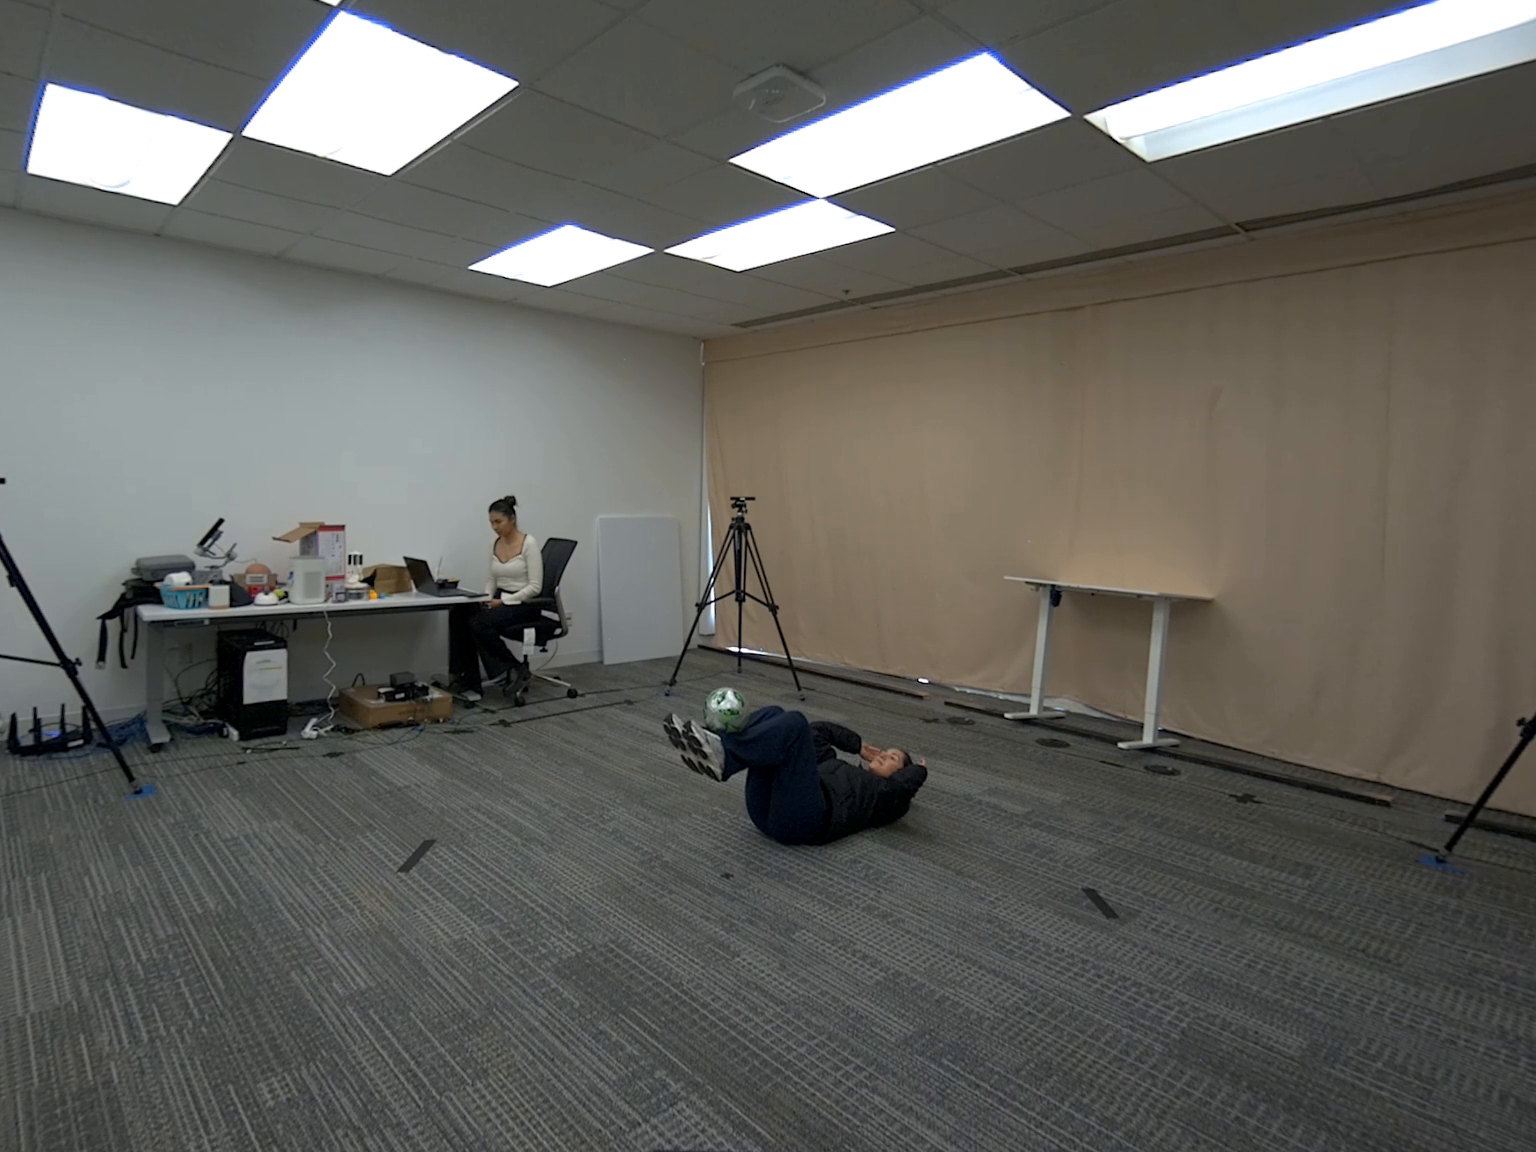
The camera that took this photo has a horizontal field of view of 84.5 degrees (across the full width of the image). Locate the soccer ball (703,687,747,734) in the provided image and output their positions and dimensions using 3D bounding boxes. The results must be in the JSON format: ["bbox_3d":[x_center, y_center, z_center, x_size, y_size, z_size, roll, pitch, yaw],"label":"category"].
[{"bbox_3d":[-0.171,0.526,3.264,0.187,0.186,0.188,0,7,-1],"label":"soccer ball"}]
